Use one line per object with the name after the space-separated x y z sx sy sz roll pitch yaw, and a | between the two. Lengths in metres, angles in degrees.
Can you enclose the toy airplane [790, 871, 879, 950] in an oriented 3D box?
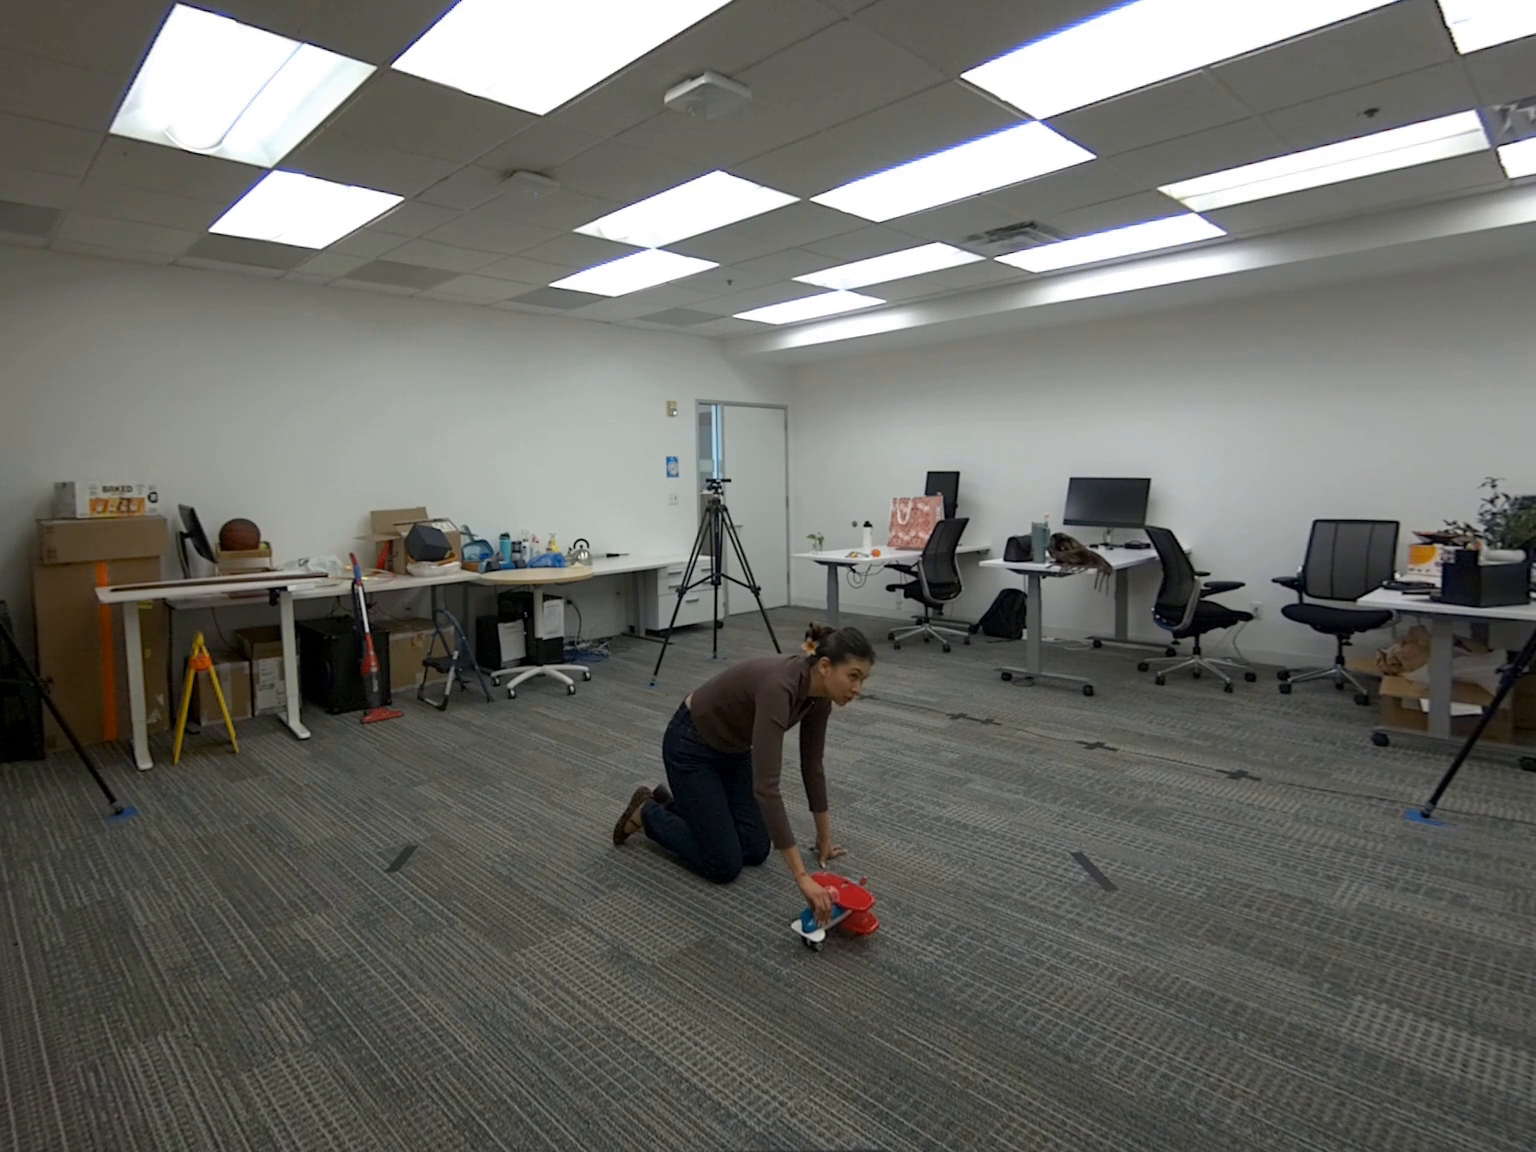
0.217 1.029 2.584 0.256 0.156 0.255 3 6 22 | toy airplane
